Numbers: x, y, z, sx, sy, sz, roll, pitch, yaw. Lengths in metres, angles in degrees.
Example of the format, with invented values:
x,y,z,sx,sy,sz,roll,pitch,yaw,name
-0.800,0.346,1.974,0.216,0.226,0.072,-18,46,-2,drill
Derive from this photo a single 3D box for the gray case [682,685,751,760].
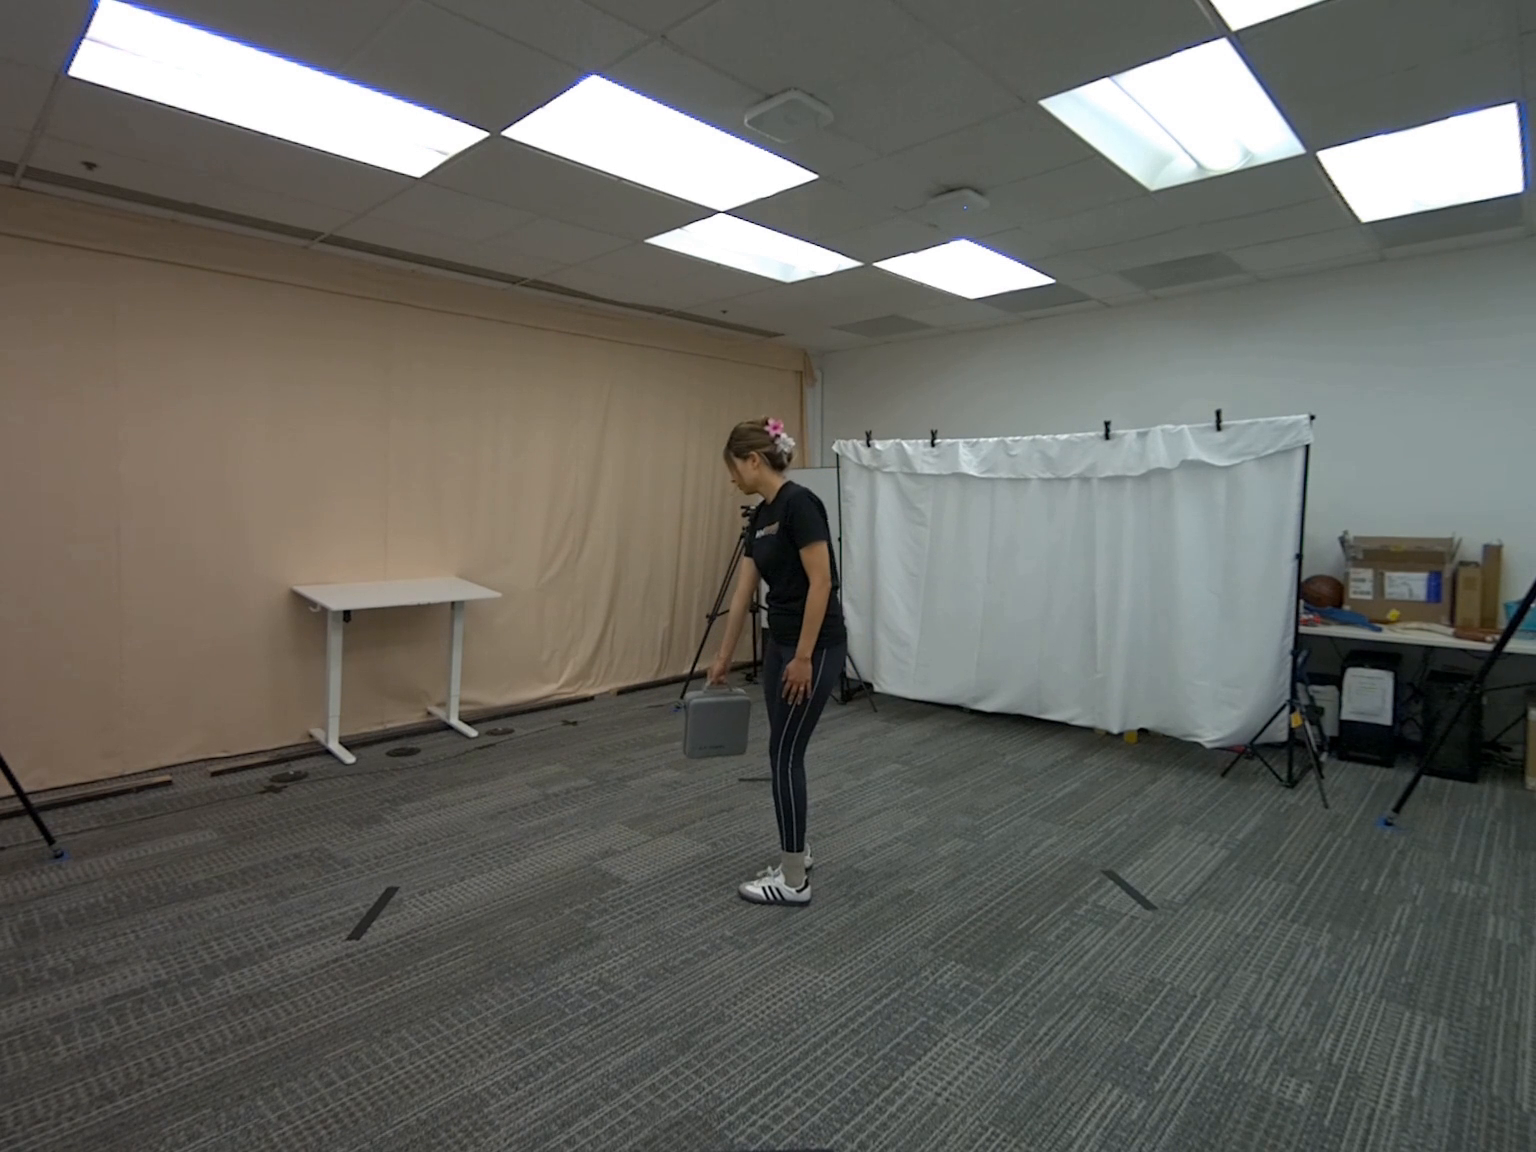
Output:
x,y,z,sx,sy,sz,roll,pitch,yaw,name
-0.203,0.570,3.261,0.252,0.259,0.107,1,13,-17,gray case
